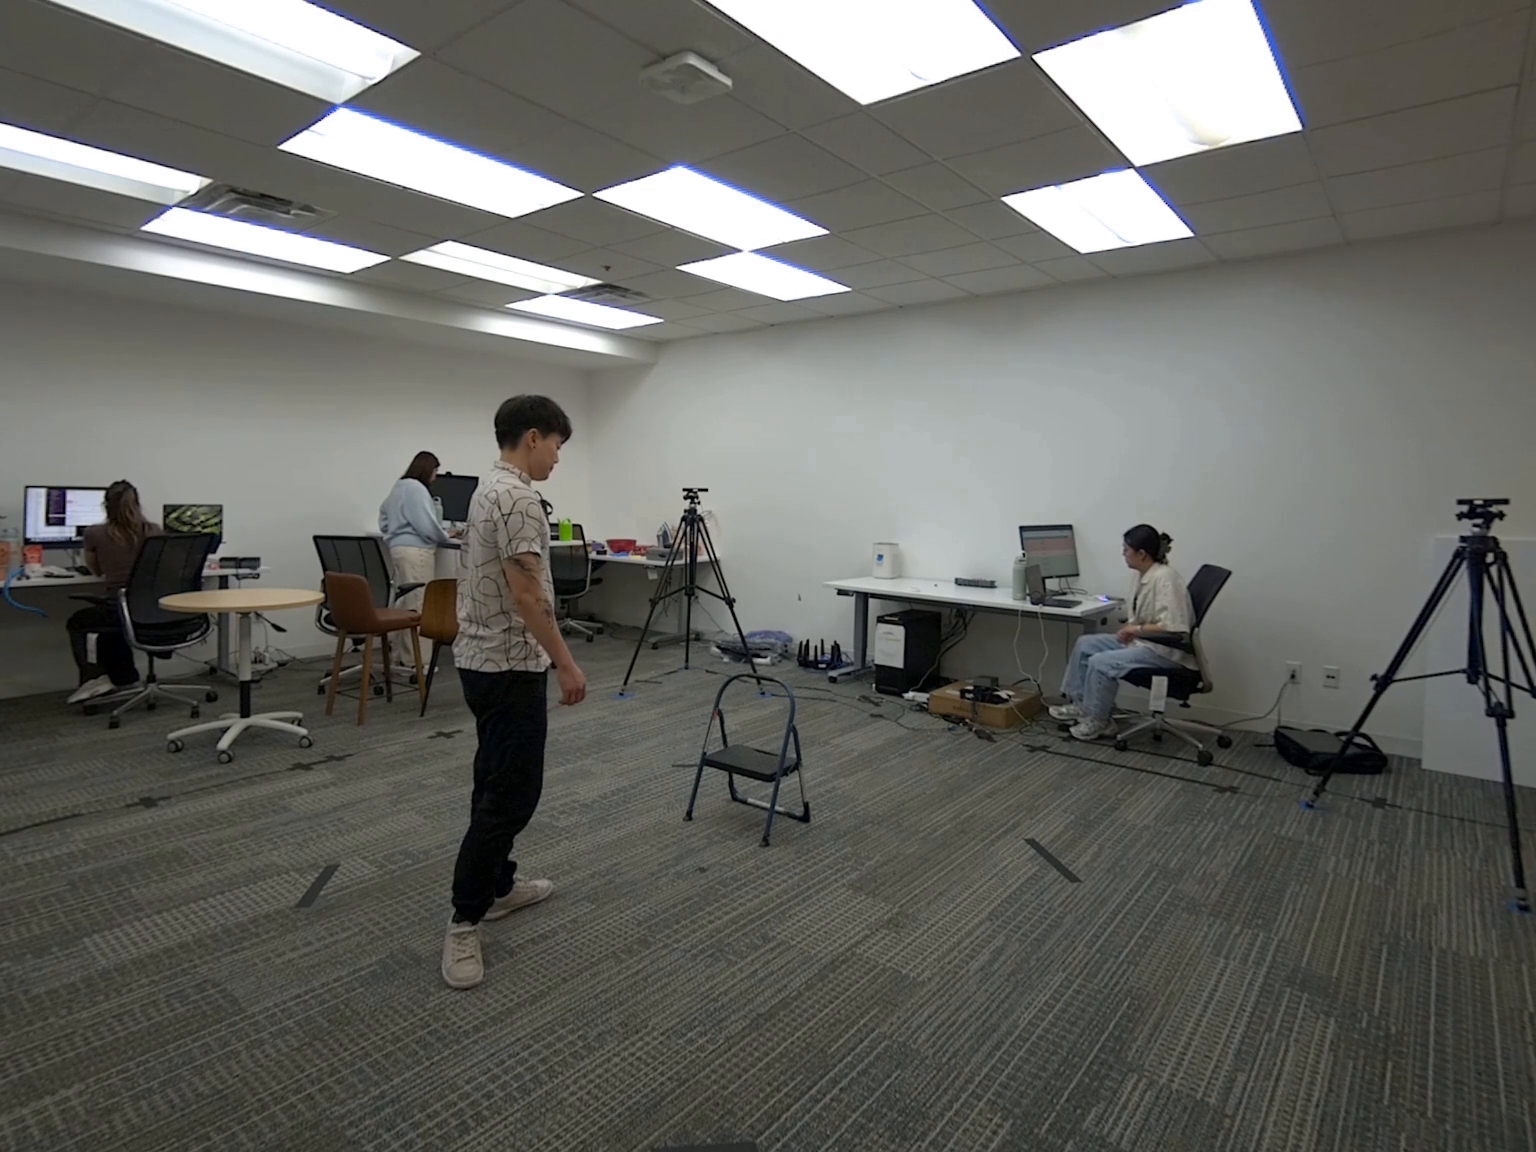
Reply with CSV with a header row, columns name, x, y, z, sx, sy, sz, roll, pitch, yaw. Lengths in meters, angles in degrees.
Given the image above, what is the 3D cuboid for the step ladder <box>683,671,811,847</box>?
name,x,y,z,sx,sy,sz,roll,pitch,yaw
step ladder,-0.087,0.725,3.565,0.444,0.604,0.339,4,4,36
